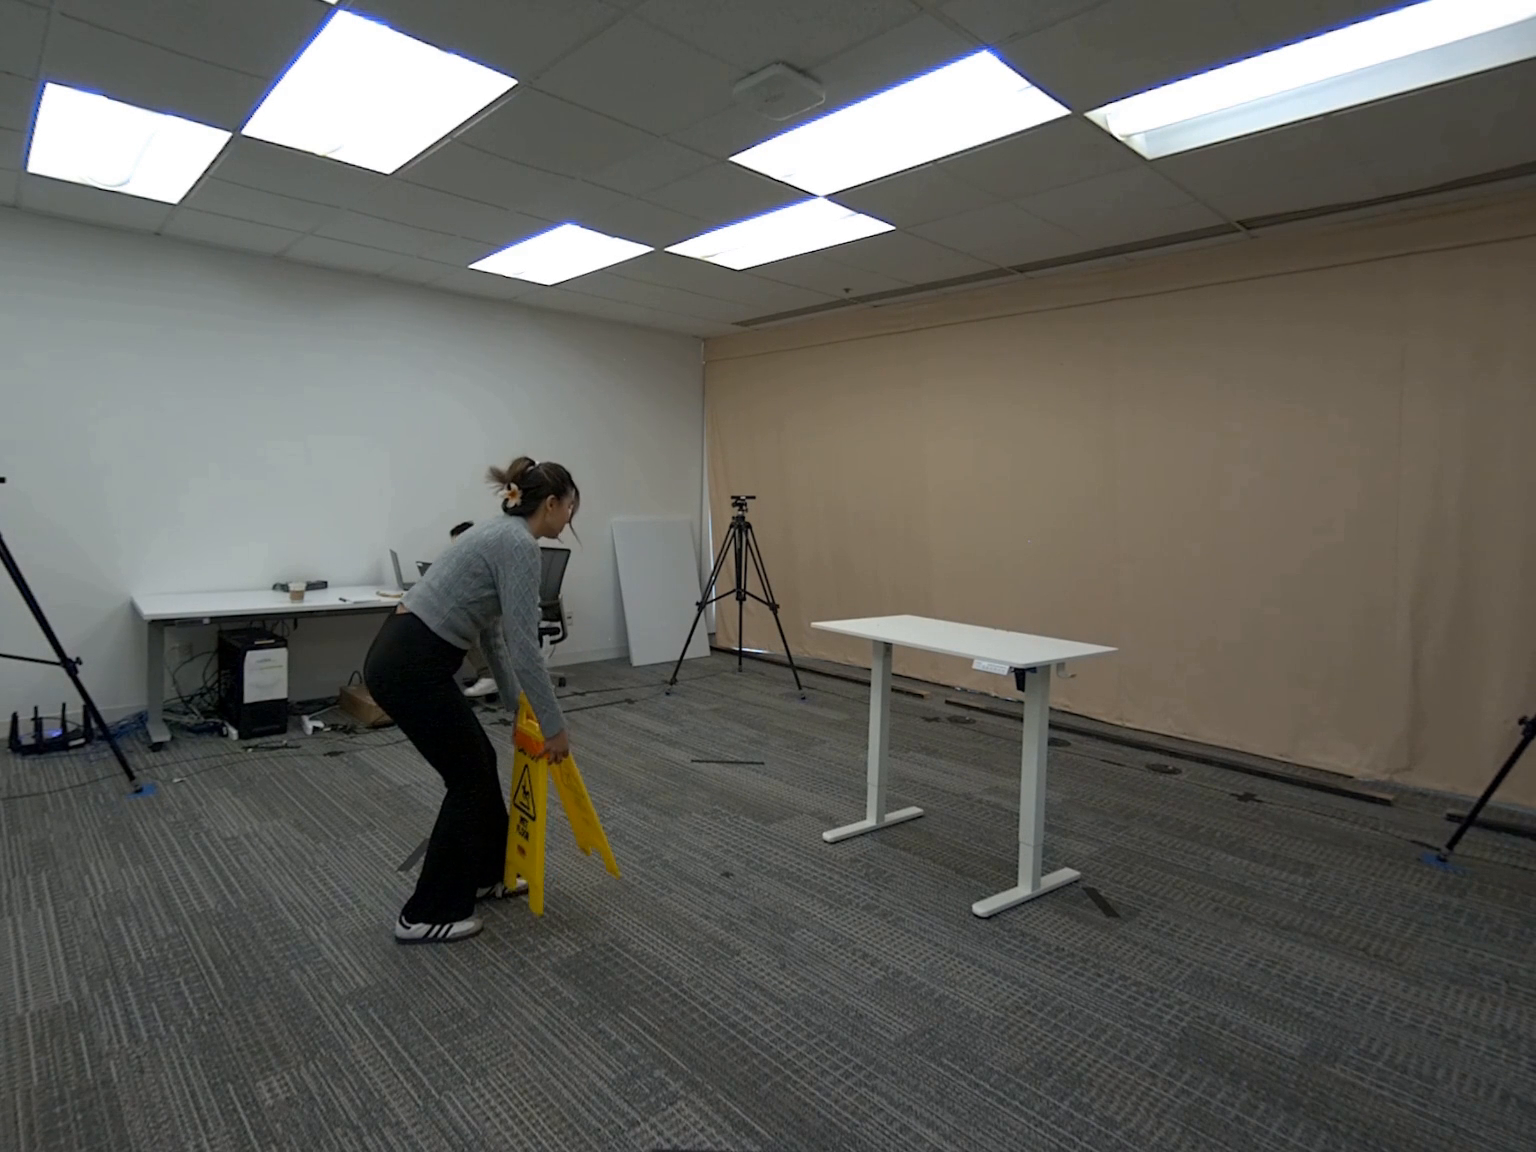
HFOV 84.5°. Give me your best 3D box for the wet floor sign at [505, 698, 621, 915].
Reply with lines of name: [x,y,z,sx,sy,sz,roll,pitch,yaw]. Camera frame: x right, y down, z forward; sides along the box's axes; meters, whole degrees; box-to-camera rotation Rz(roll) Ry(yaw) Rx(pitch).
wet floor sign: [-0.717,0.699,2.749,0.284,0.641,0.289,-13,12,-39]
